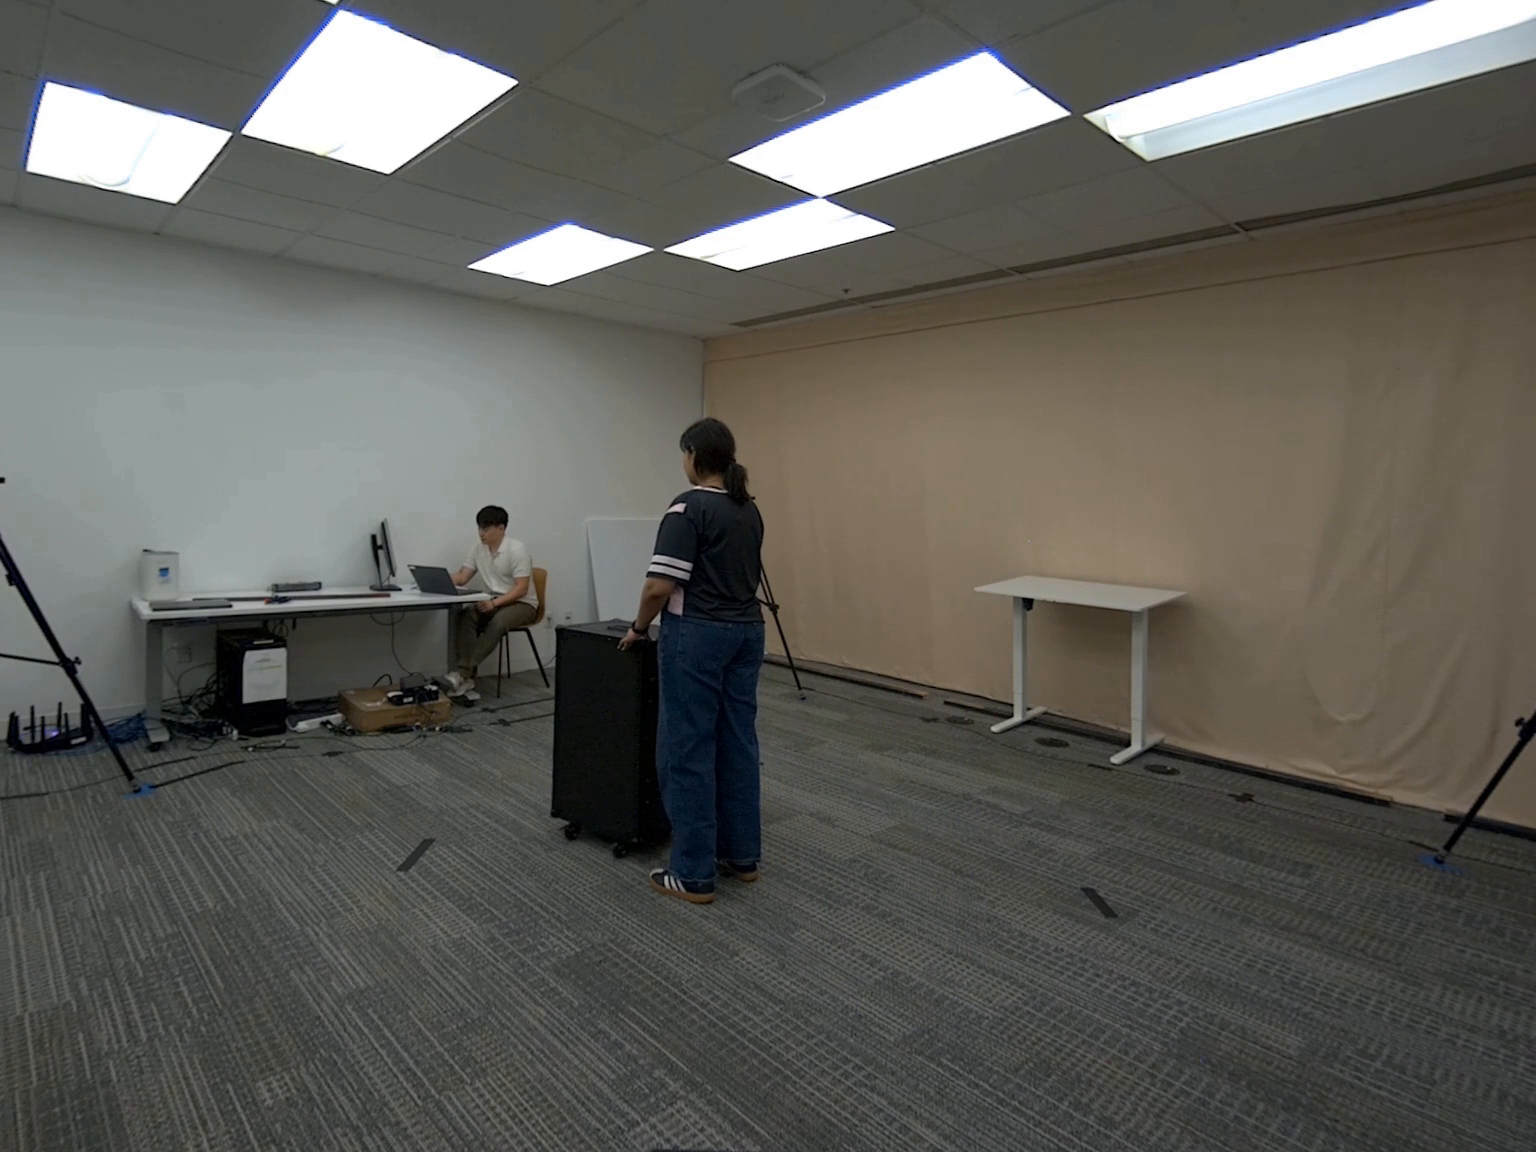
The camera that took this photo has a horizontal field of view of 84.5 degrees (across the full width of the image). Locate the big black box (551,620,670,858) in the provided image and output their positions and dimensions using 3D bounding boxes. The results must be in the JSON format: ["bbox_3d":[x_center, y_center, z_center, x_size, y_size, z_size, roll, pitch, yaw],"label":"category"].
[{"bbox_3d":[-0.594,0.645,3.444,0.536,0.867,0.377,5,4,34],"label":"big black box"}]
